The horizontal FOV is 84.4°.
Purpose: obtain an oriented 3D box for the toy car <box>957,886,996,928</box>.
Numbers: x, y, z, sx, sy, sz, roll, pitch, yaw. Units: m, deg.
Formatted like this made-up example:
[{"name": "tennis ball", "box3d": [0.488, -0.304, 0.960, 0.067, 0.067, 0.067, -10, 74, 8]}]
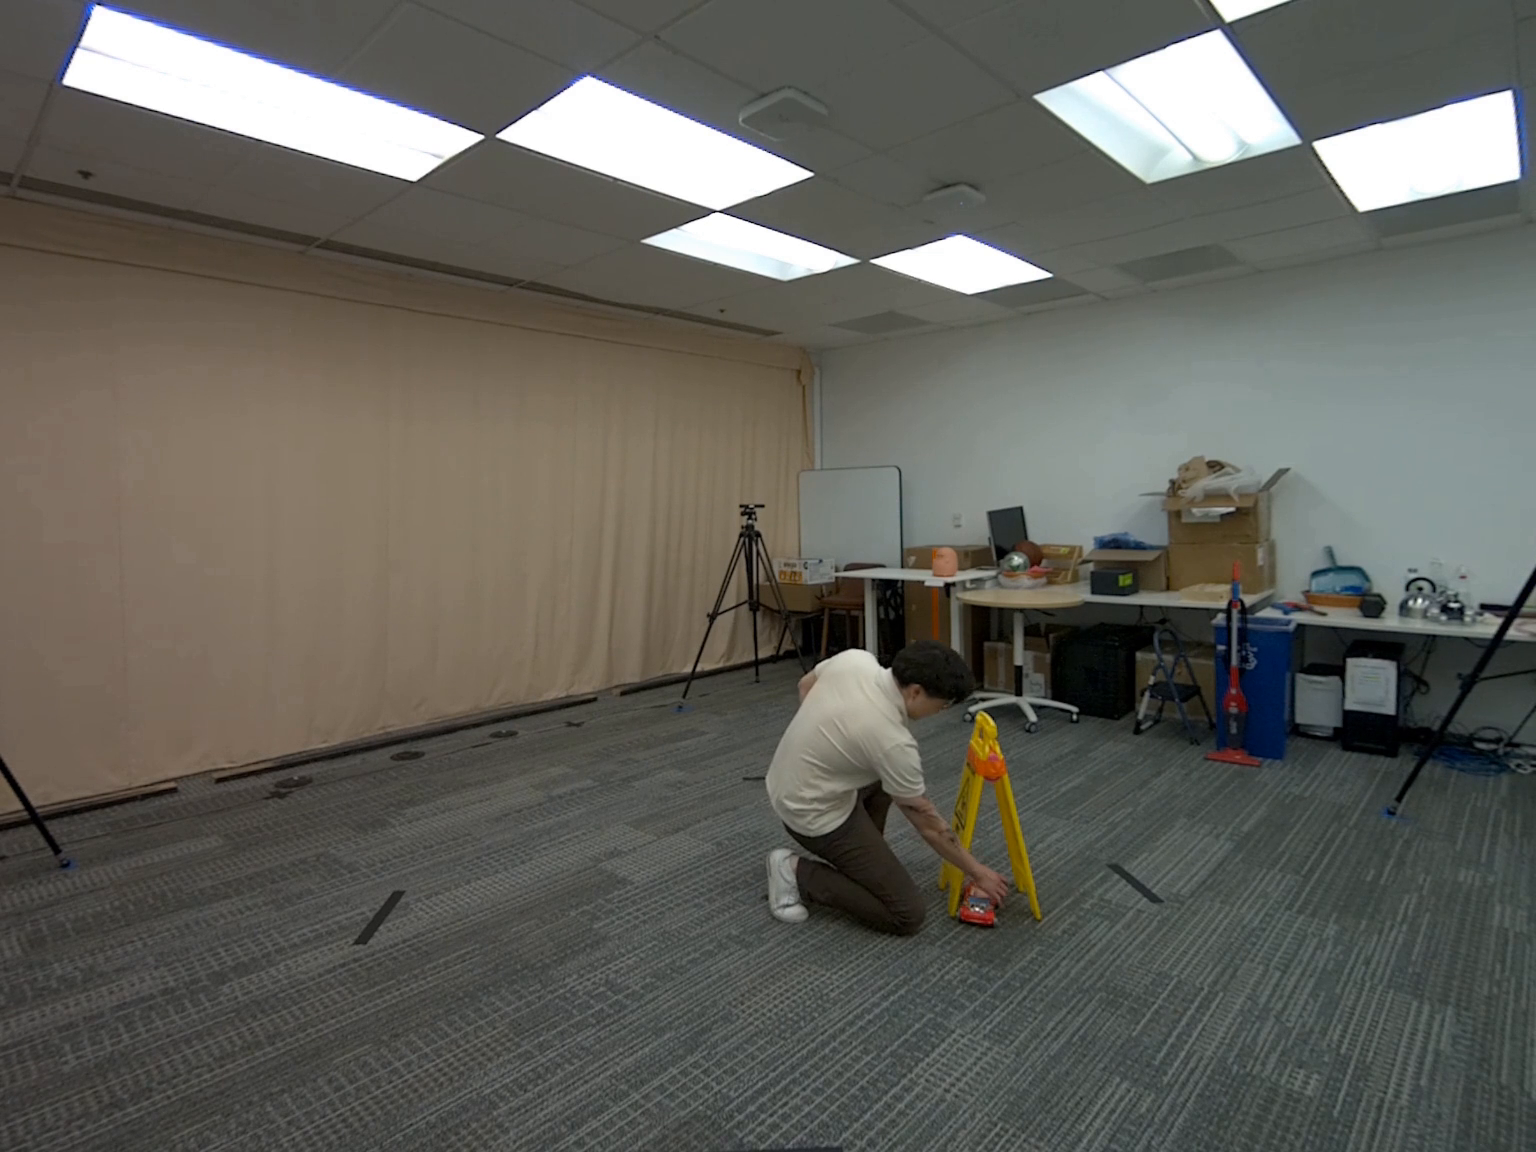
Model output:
[{"name": "toy car", "box3d": [0.732, 1.125, 2.844, 0.133, 0.082, 0.252, -1, 14, 17]}]
